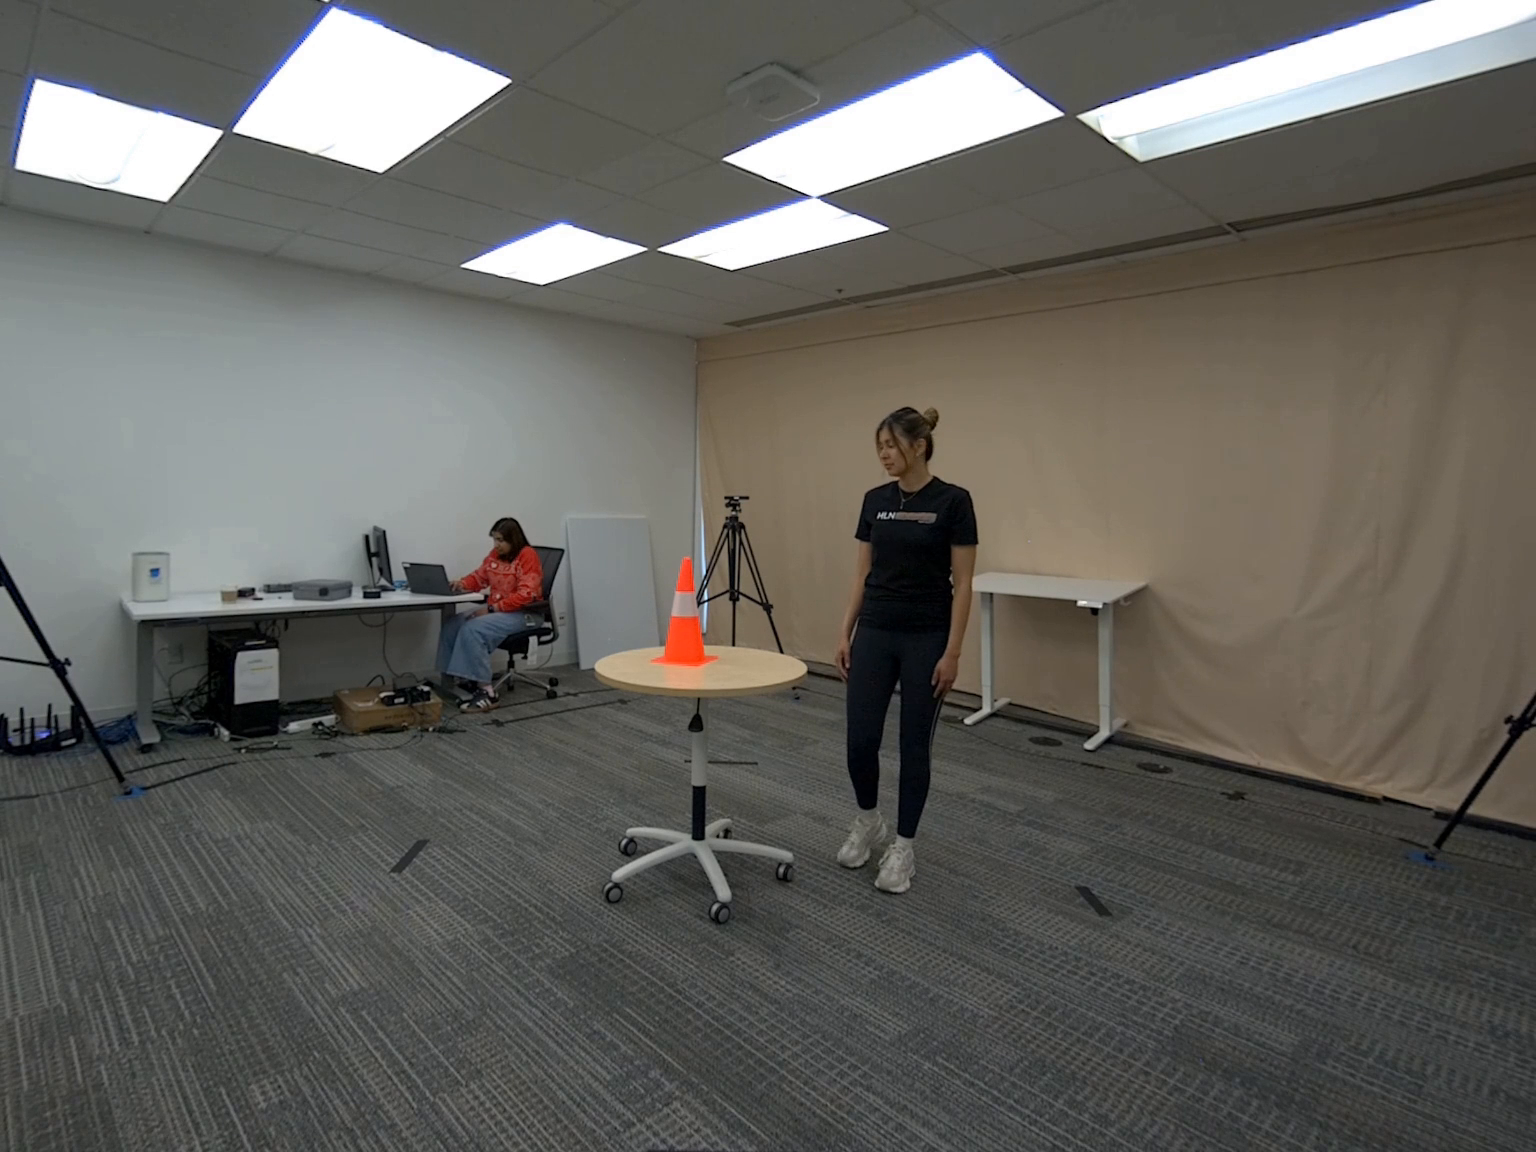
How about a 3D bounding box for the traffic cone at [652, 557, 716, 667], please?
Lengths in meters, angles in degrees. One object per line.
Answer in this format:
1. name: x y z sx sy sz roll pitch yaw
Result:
1. traffic cone: -0.307 0.127 3.117 0.209 0.382 0.200 4 5 29
